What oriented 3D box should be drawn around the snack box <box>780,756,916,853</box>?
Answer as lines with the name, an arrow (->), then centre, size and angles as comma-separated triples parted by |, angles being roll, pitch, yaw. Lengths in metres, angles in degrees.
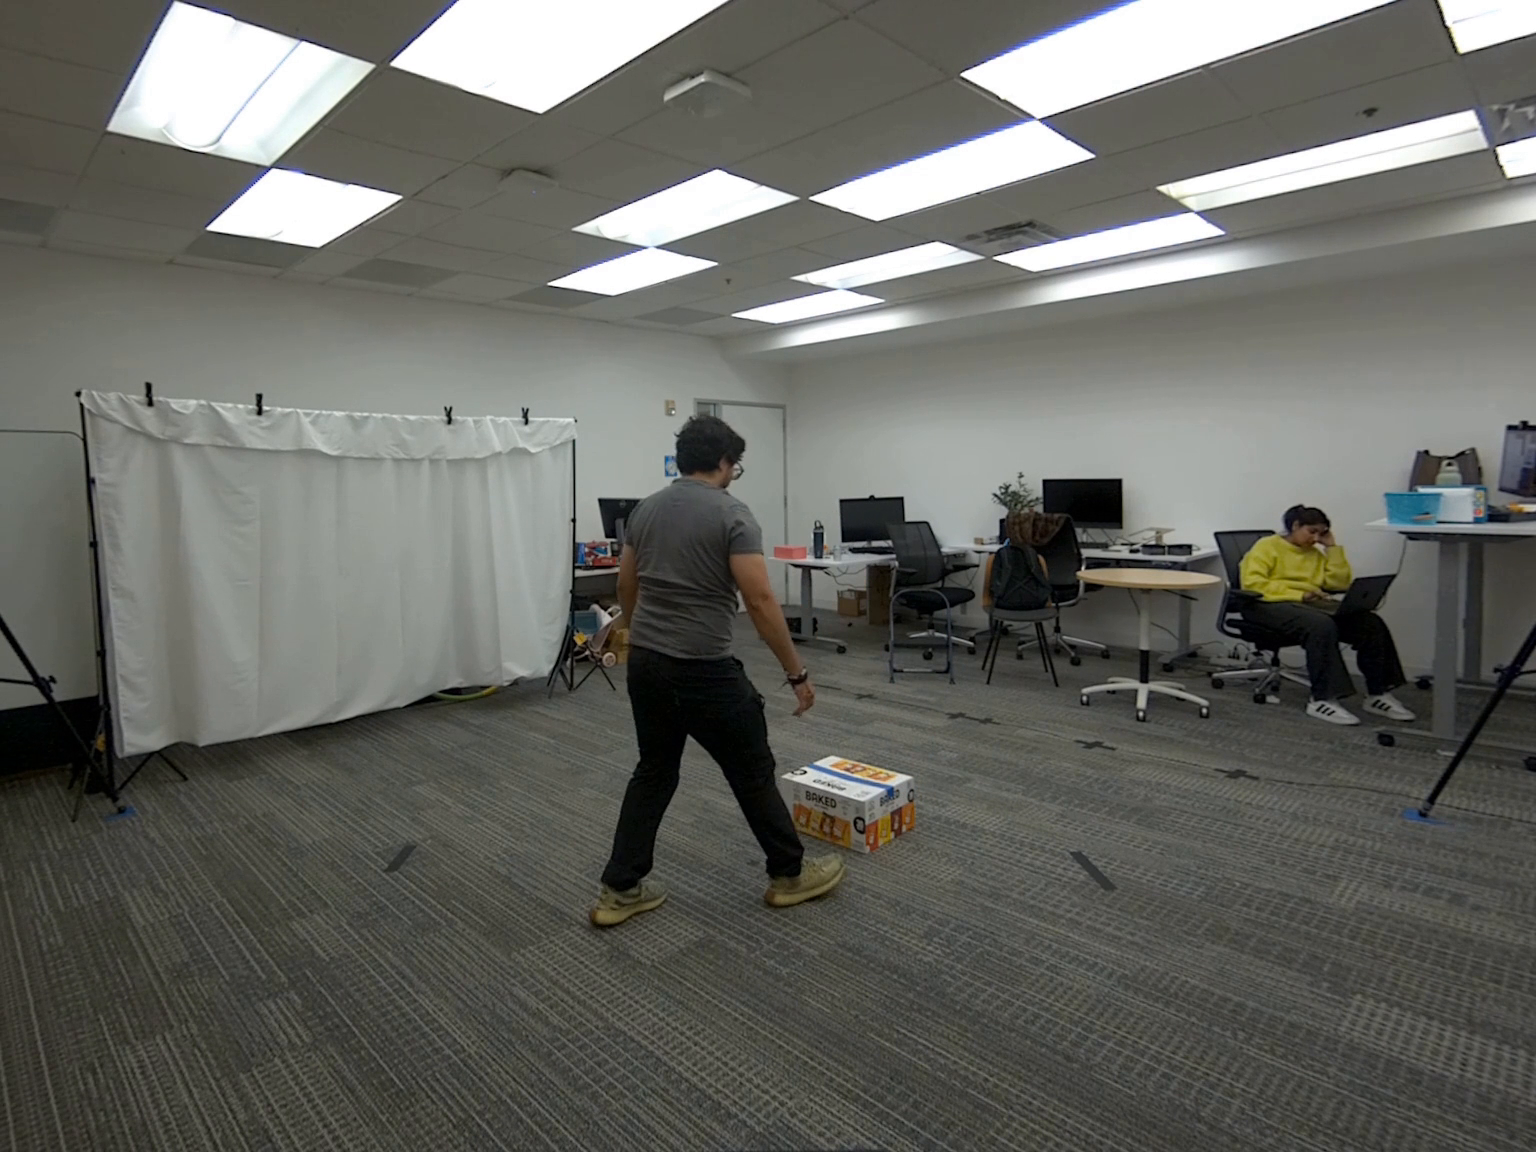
snack box -> 0.319, 0.901, 3.408 | 0.418, 0.205, 0.331 | 5, 8, 42
